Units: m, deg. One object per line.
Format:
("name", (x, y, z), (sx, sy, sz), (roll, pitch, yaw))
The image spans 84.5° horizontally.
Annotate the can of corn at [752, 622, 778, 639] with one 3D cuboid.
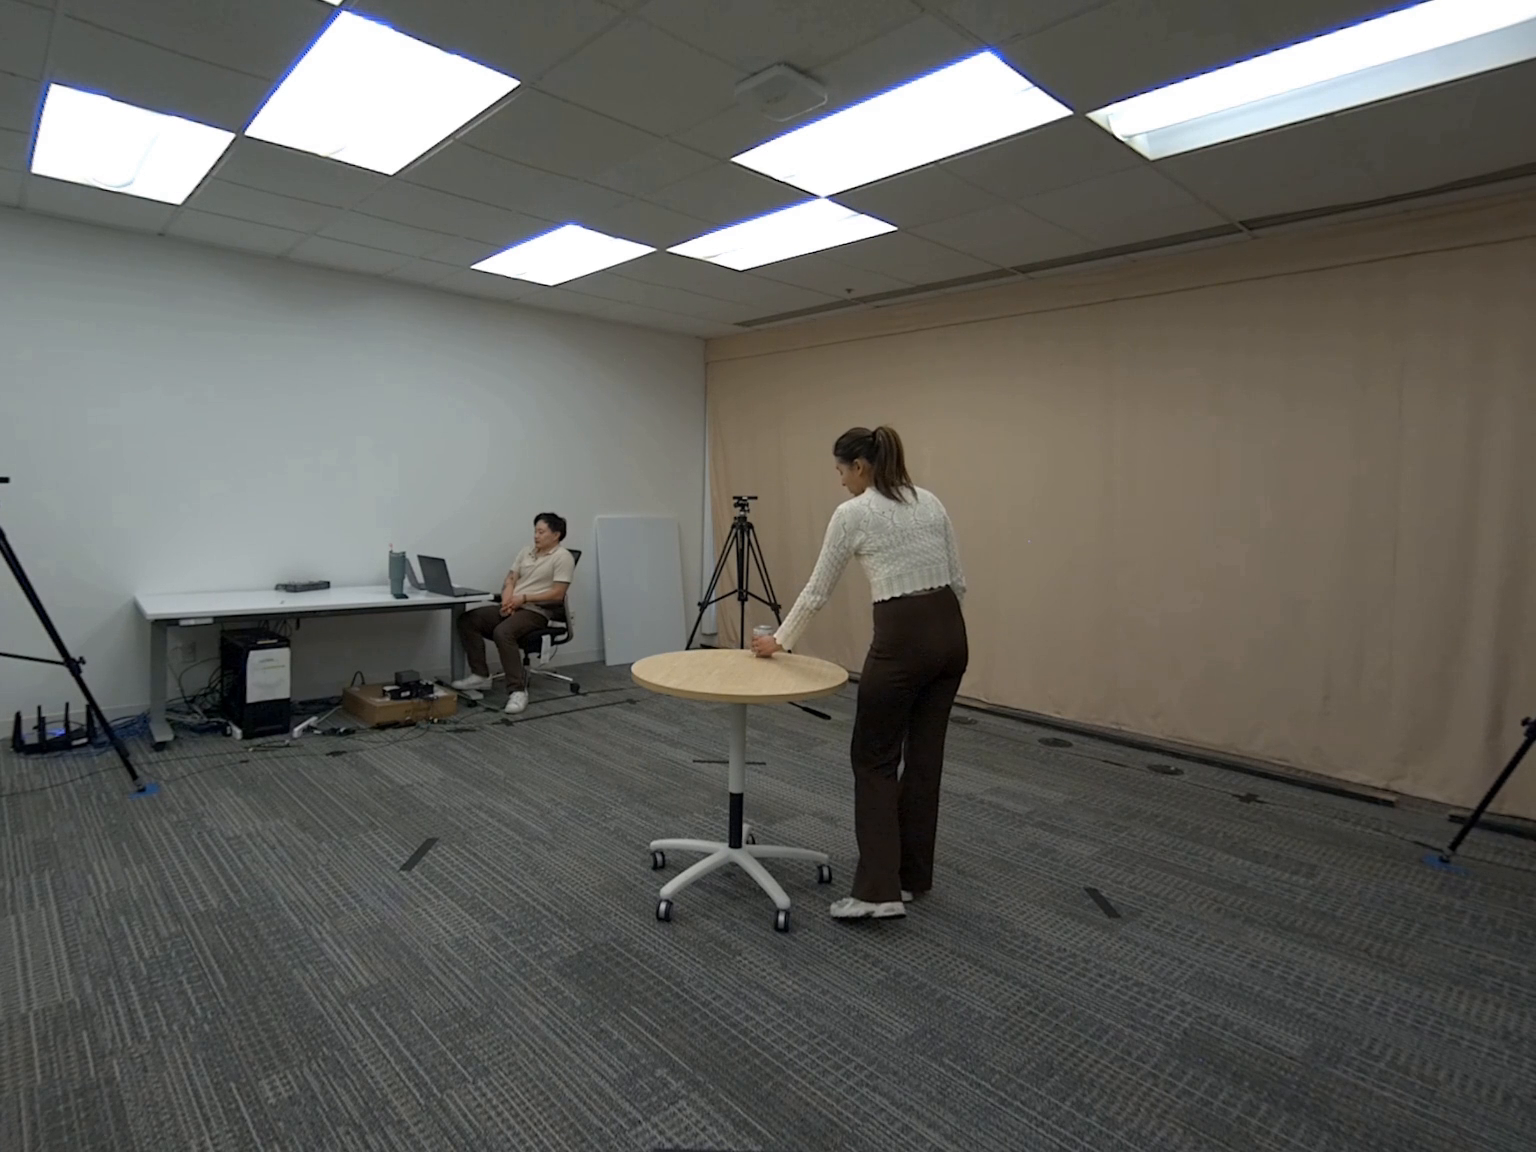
("can of corn", (-0.026, 0.249, 3.241), (0.074, 0.110, 0.074), (-1, 5, -1))
